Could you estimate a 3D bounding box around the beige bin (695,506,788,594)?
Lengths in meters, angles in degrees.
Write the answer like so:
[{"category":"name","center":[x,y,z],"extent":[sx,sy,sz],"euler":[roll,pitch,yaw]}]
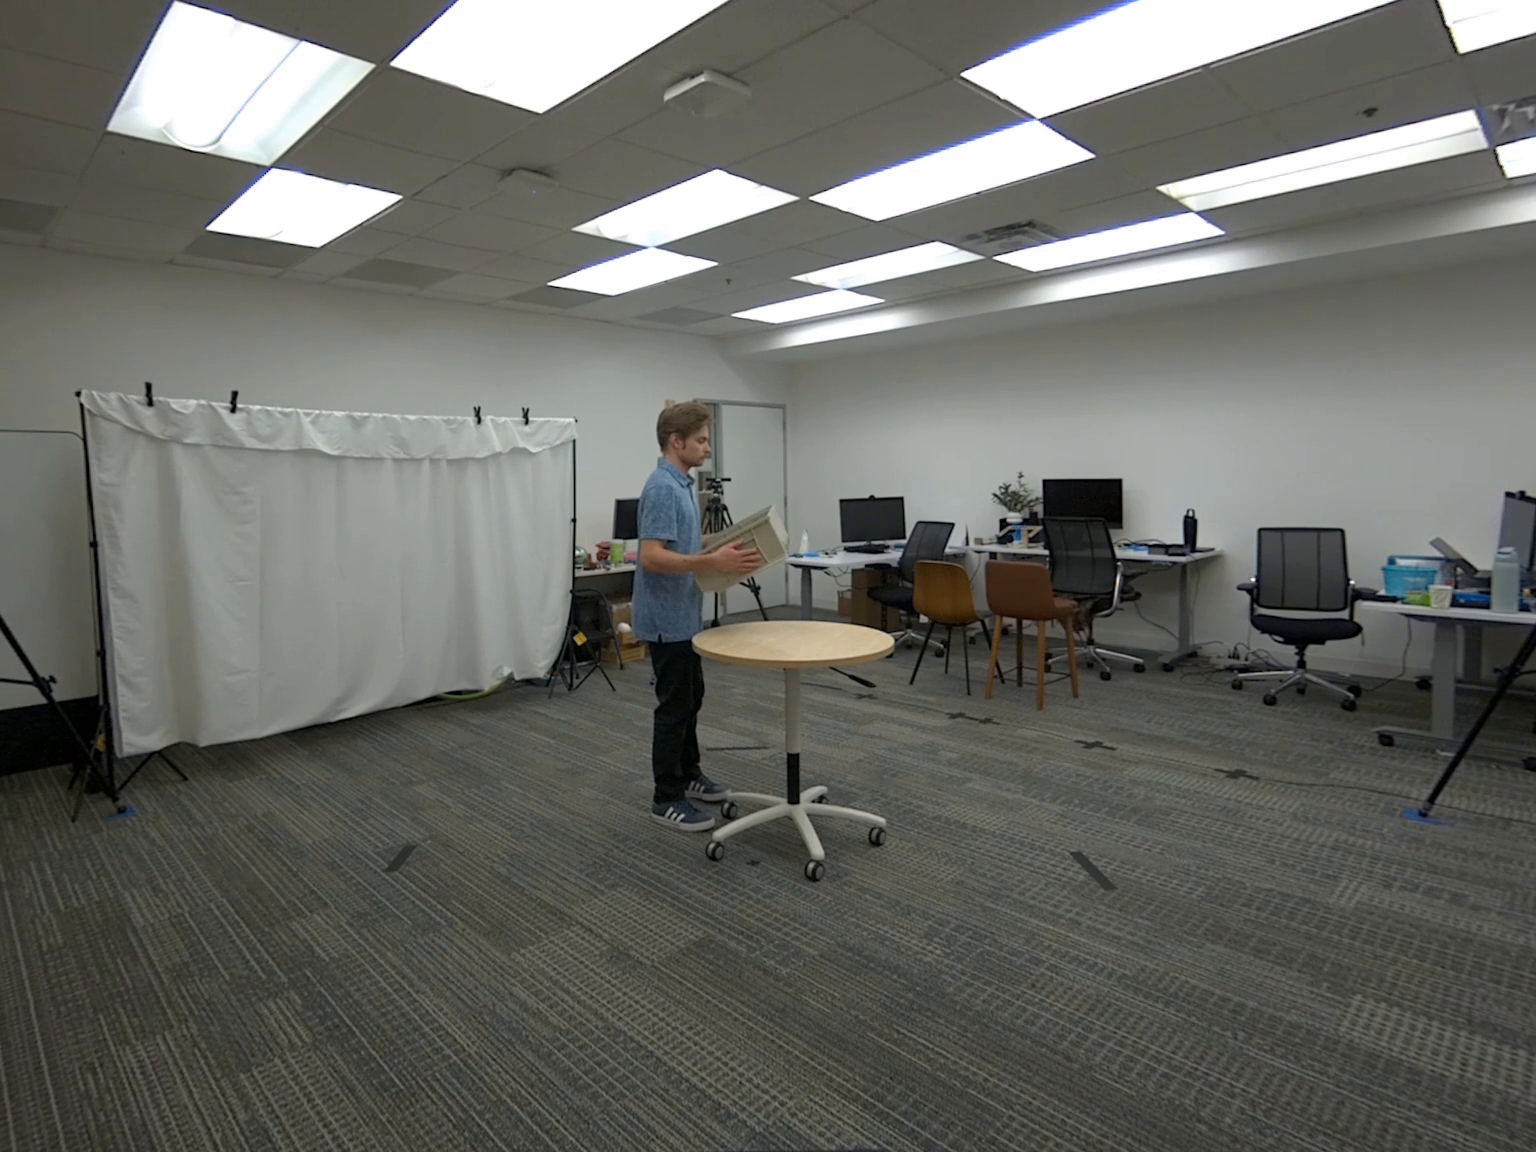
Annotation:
[{"category":"beige bin","center":[-0.110,-0.107,3.496],"extent":[0.379,0.187,0.424],"euler":[-27,8,9]}]
